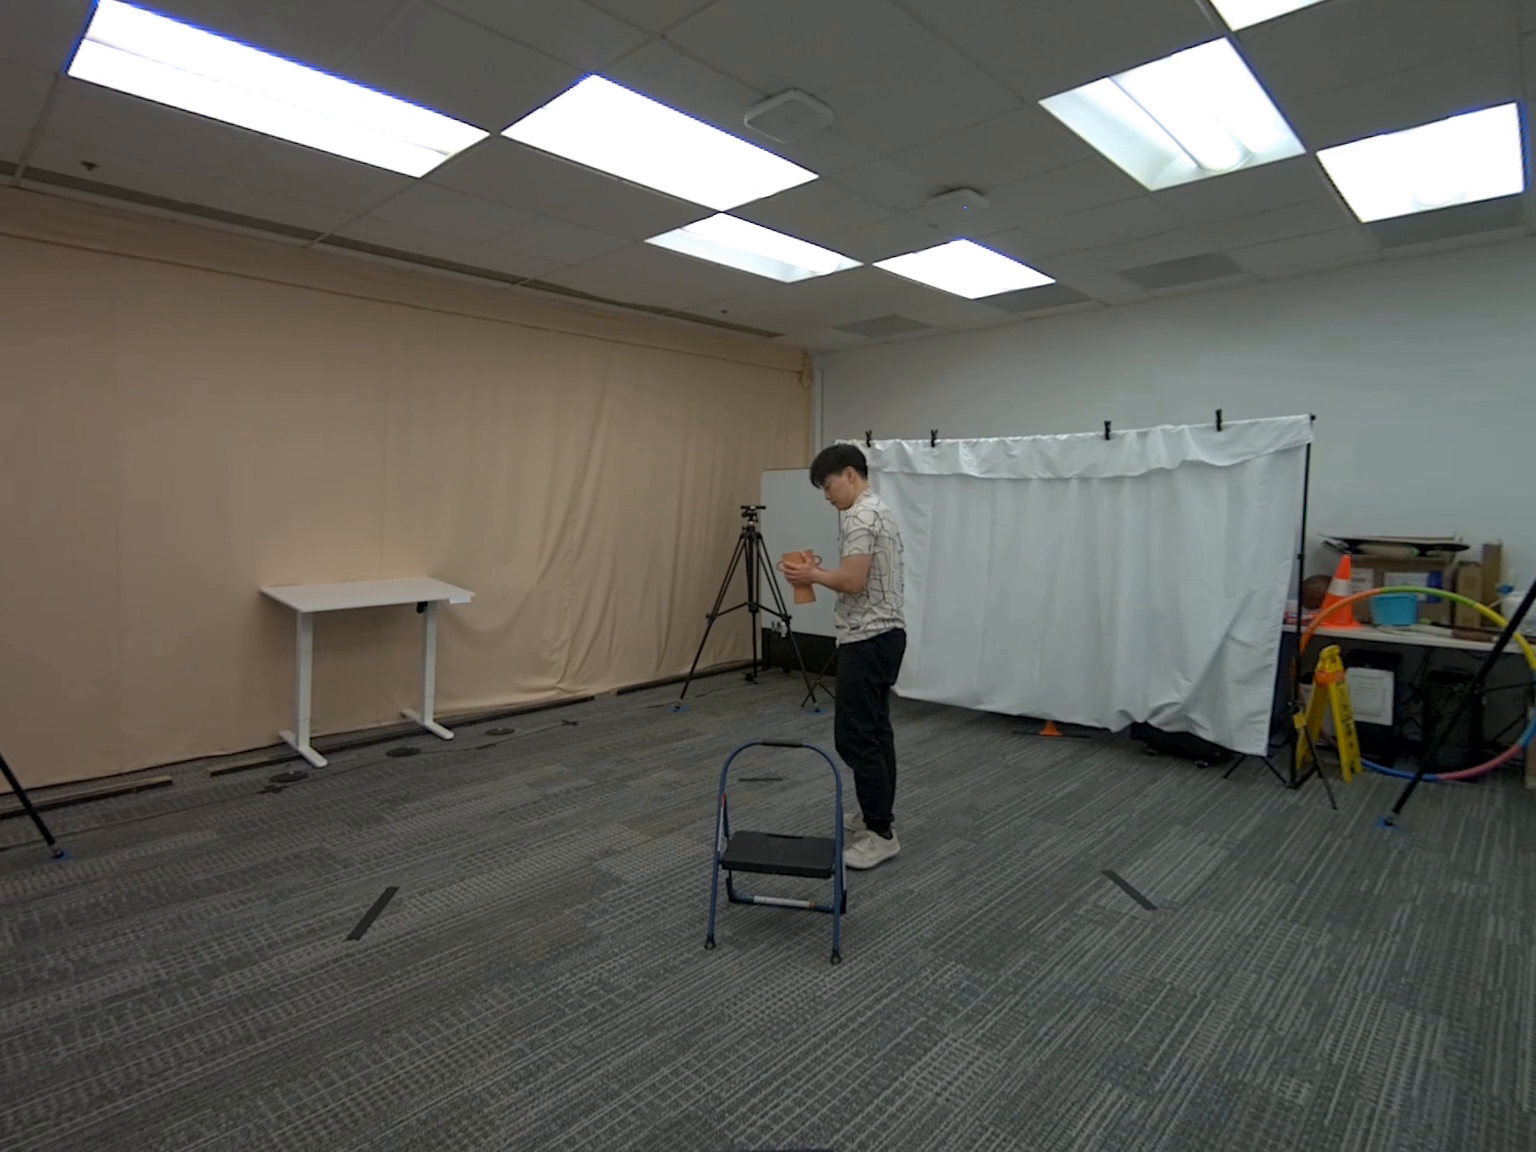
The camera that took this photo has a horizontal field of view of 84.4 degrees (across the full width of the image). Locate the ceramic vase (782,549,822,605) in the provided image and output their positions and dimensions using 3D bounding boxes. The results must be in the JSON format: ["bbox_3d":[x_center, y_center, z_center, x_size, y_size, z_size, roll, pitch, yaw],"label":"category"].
[{"bbox_3d":[0.170,0.008,3.612,0.163,0.219,0.131,-6,3,45],"label":"ceramic vase"}]
